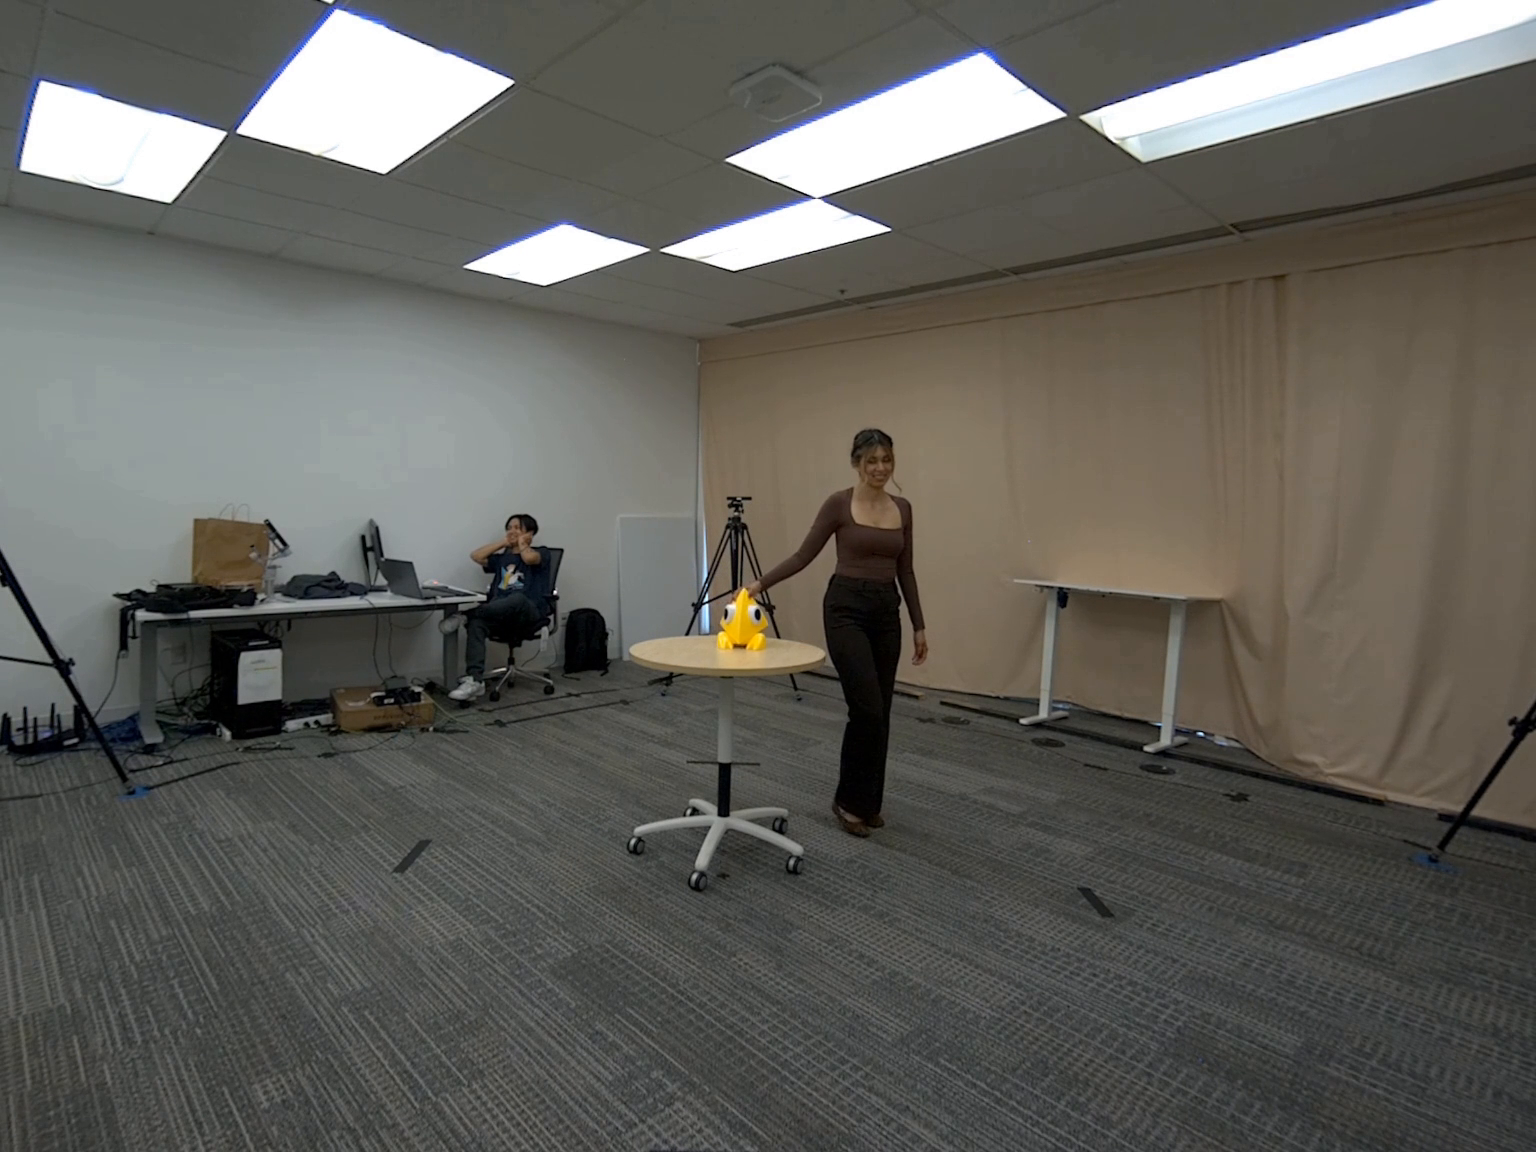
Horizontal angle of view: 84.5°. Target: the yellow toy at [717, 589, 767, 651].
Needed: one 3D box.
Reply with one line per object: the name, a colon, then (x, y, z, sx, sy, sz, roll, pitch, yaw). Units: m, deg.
yellow toy: (-0.113, 0.169, 3.399, 0.206, 0.230, 0.192, 1, 2, 5)
